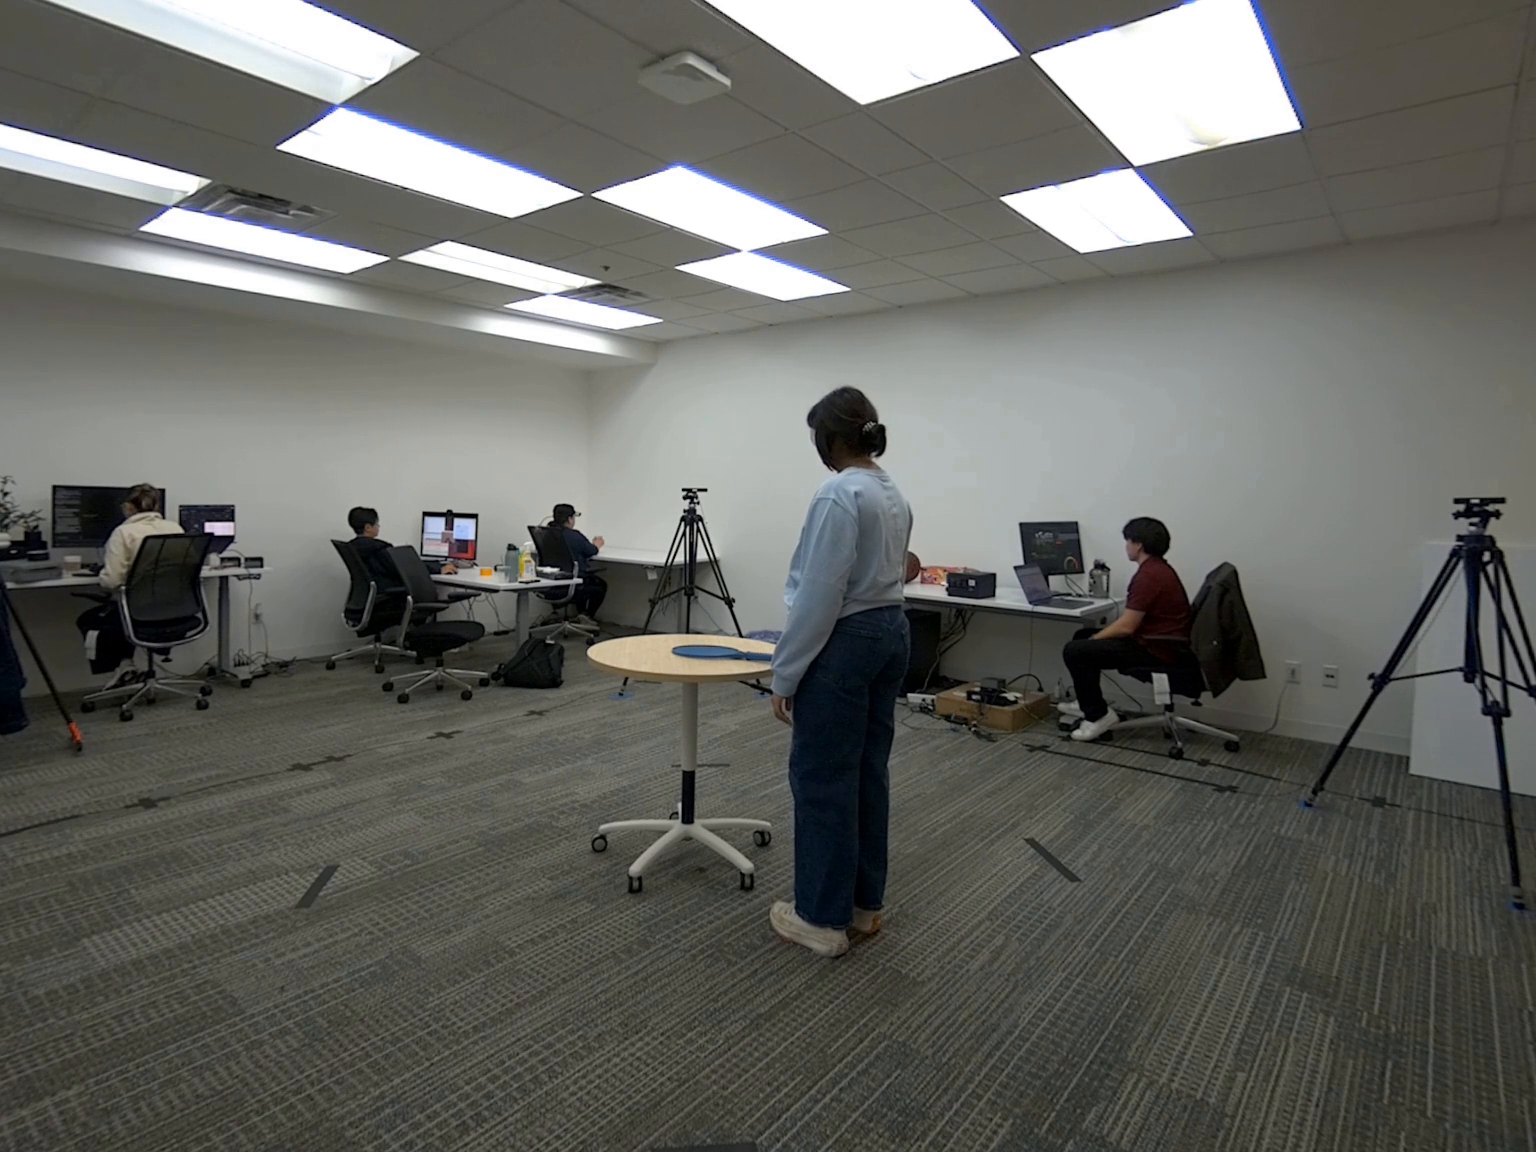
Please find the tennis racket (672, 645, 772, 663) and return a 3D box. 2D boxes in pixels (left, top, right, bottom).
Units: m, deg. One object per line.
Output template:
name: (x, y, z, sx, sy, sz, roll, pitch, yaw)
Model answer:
tennis racket: (-0.174, 0.282, 3.097, 0.446, 0.031, 0.208, 3, 6, 33)
